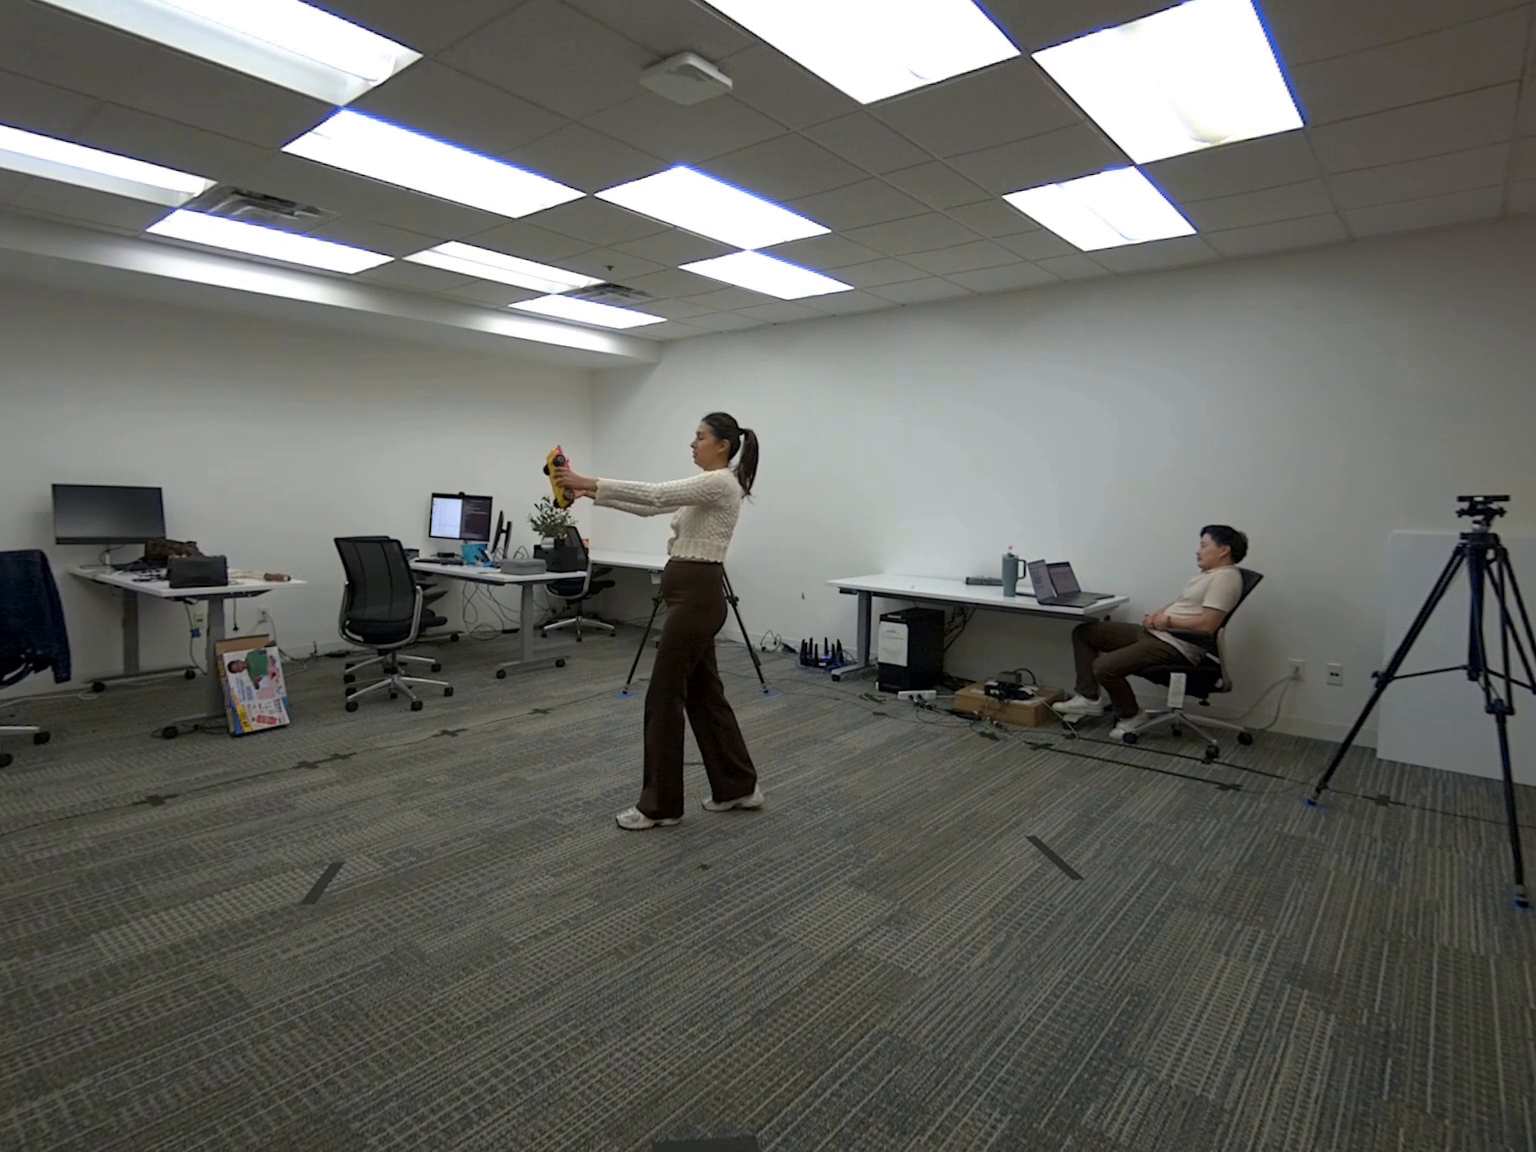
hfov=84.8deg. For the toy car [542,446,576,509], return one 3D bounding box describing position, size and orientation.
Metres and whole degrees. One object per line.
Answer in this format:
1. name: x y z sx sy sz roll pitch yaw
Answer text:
1. toy car: -0.855 -0.406 3.432 0.080 0.259 0.132 4 -21 -38
